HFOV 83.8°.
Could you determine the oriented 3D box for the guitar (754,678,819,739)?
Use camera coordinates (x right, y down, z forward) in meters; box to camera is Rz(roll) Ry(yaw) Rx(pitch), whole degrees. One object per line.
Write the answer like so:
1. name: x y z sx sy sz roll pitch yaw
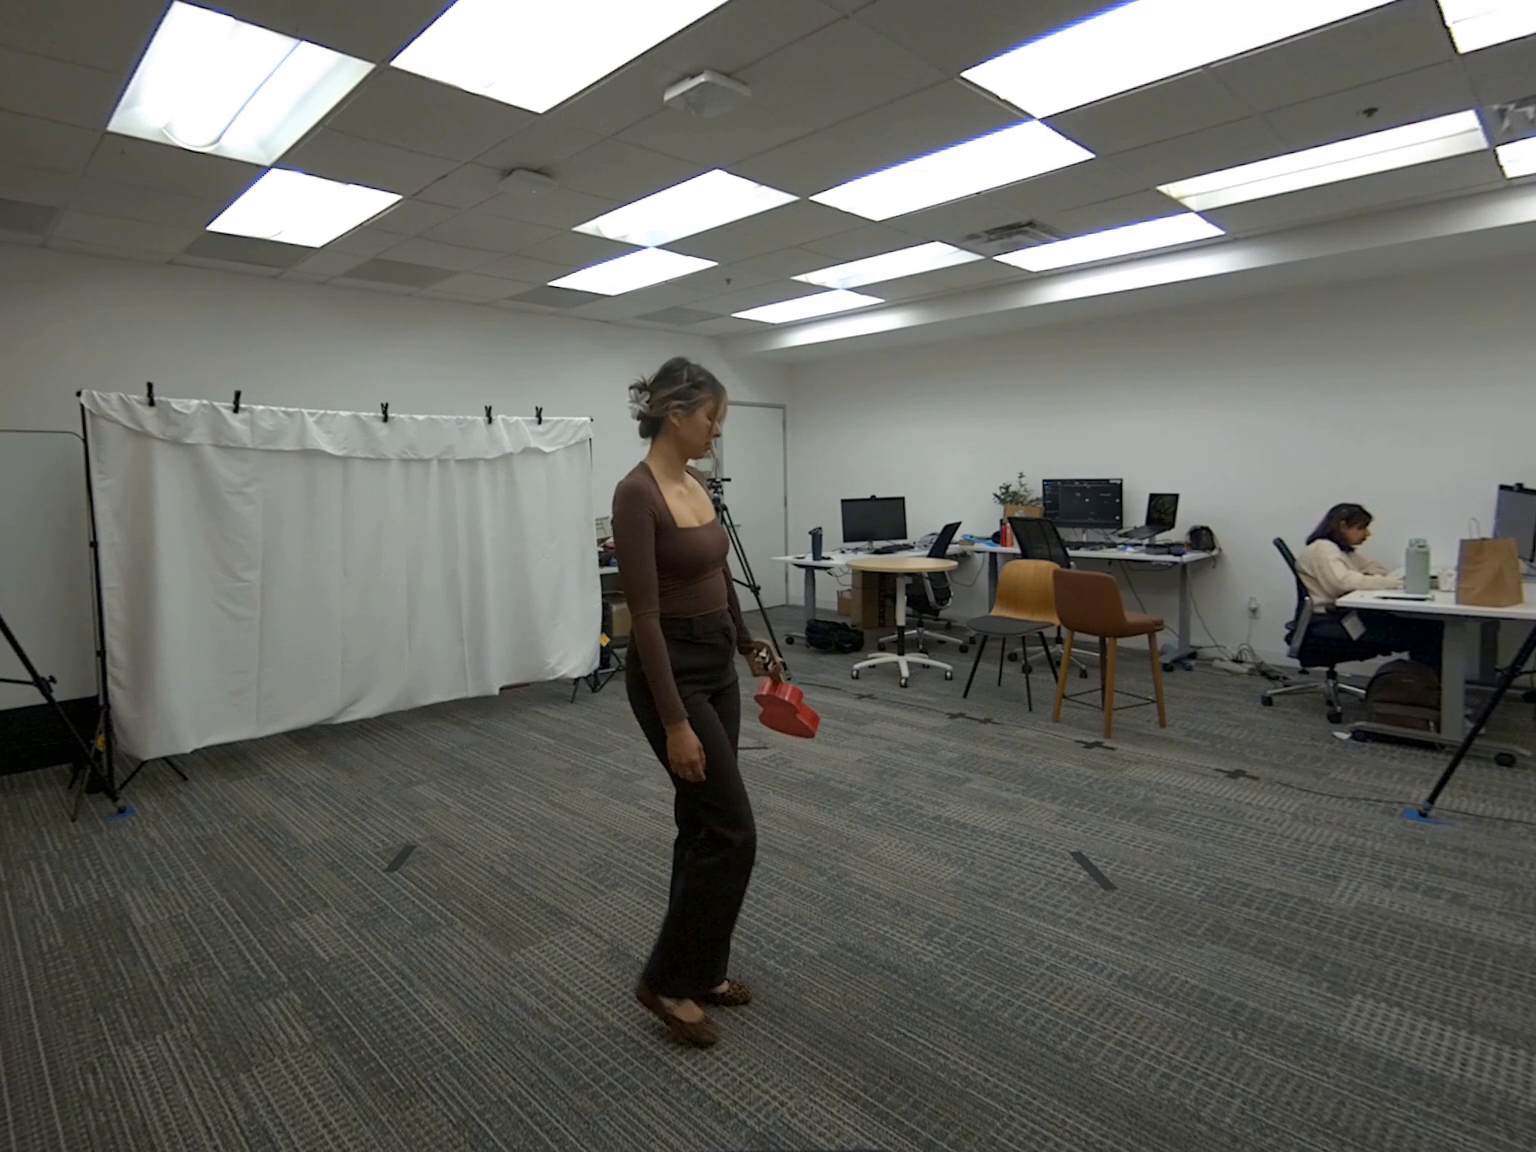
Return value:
1. guitar: -0.002 0.351 2.669 0.198 0.071 0.479 5 -35 32
